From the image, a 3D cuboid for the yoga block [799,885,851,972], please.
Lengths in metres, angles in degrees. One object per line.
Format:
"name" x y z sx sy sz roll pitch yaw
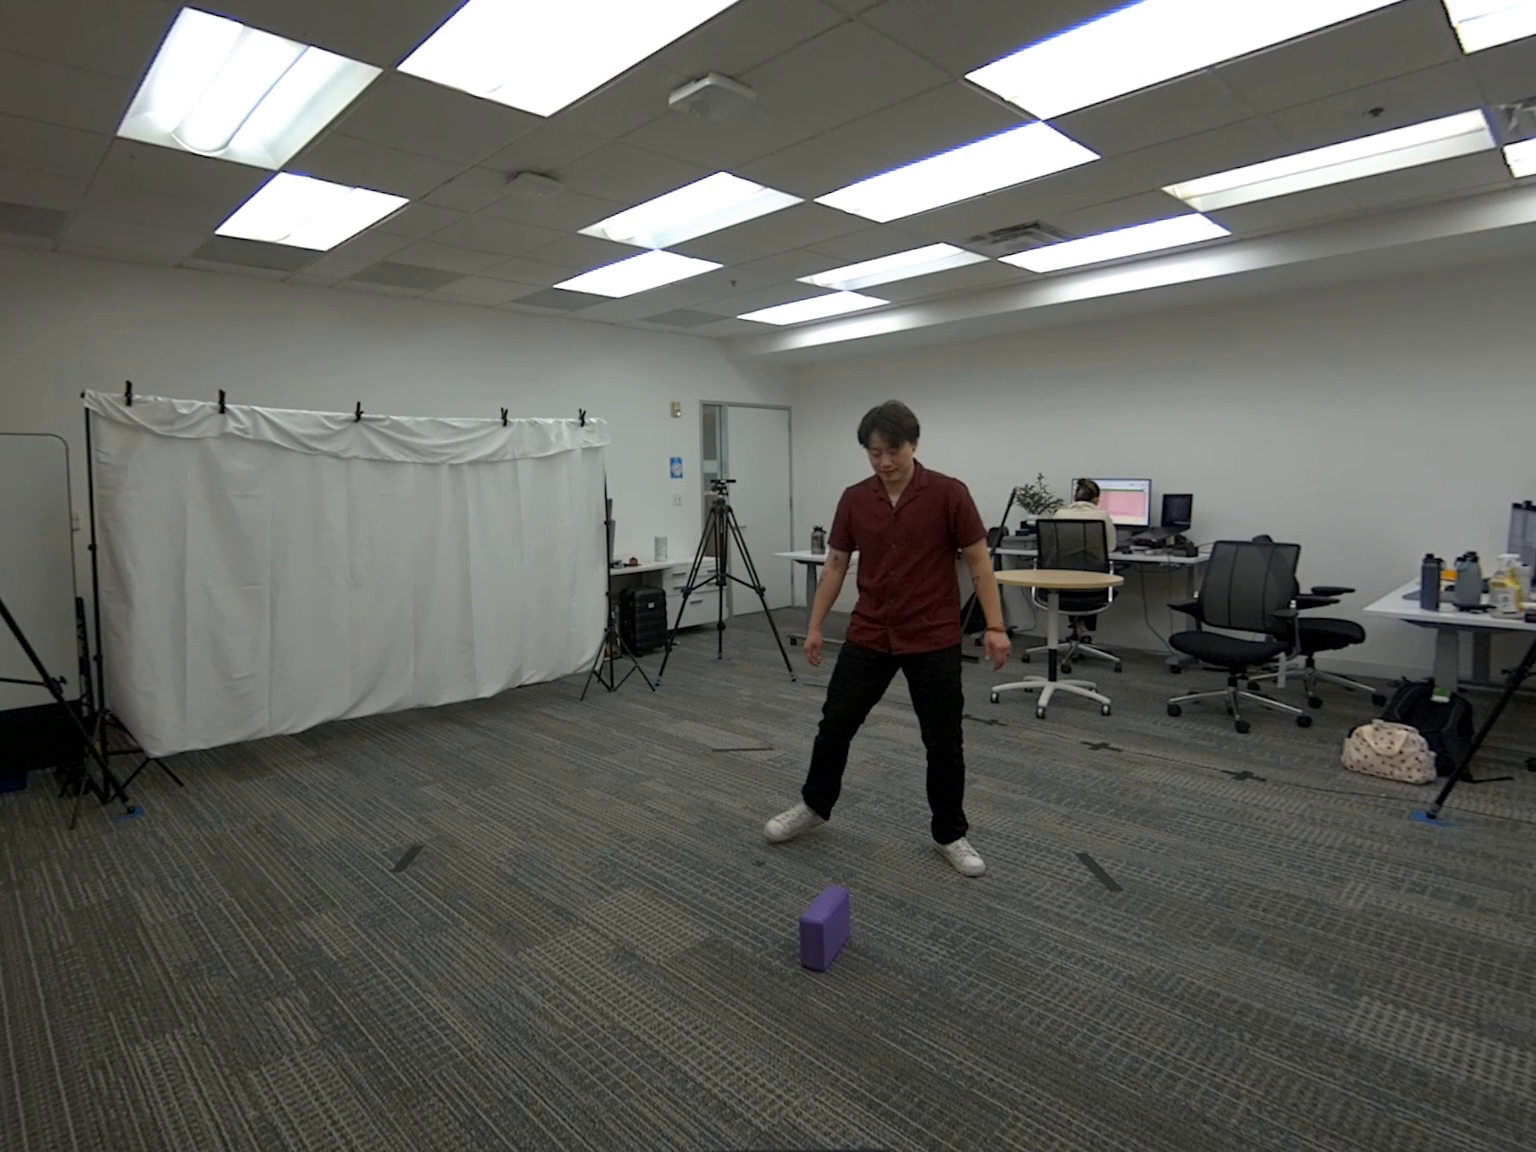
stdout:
"yoga block" 0.177 1.036 2.521 0.078 0.148 0.225 1 6 26
